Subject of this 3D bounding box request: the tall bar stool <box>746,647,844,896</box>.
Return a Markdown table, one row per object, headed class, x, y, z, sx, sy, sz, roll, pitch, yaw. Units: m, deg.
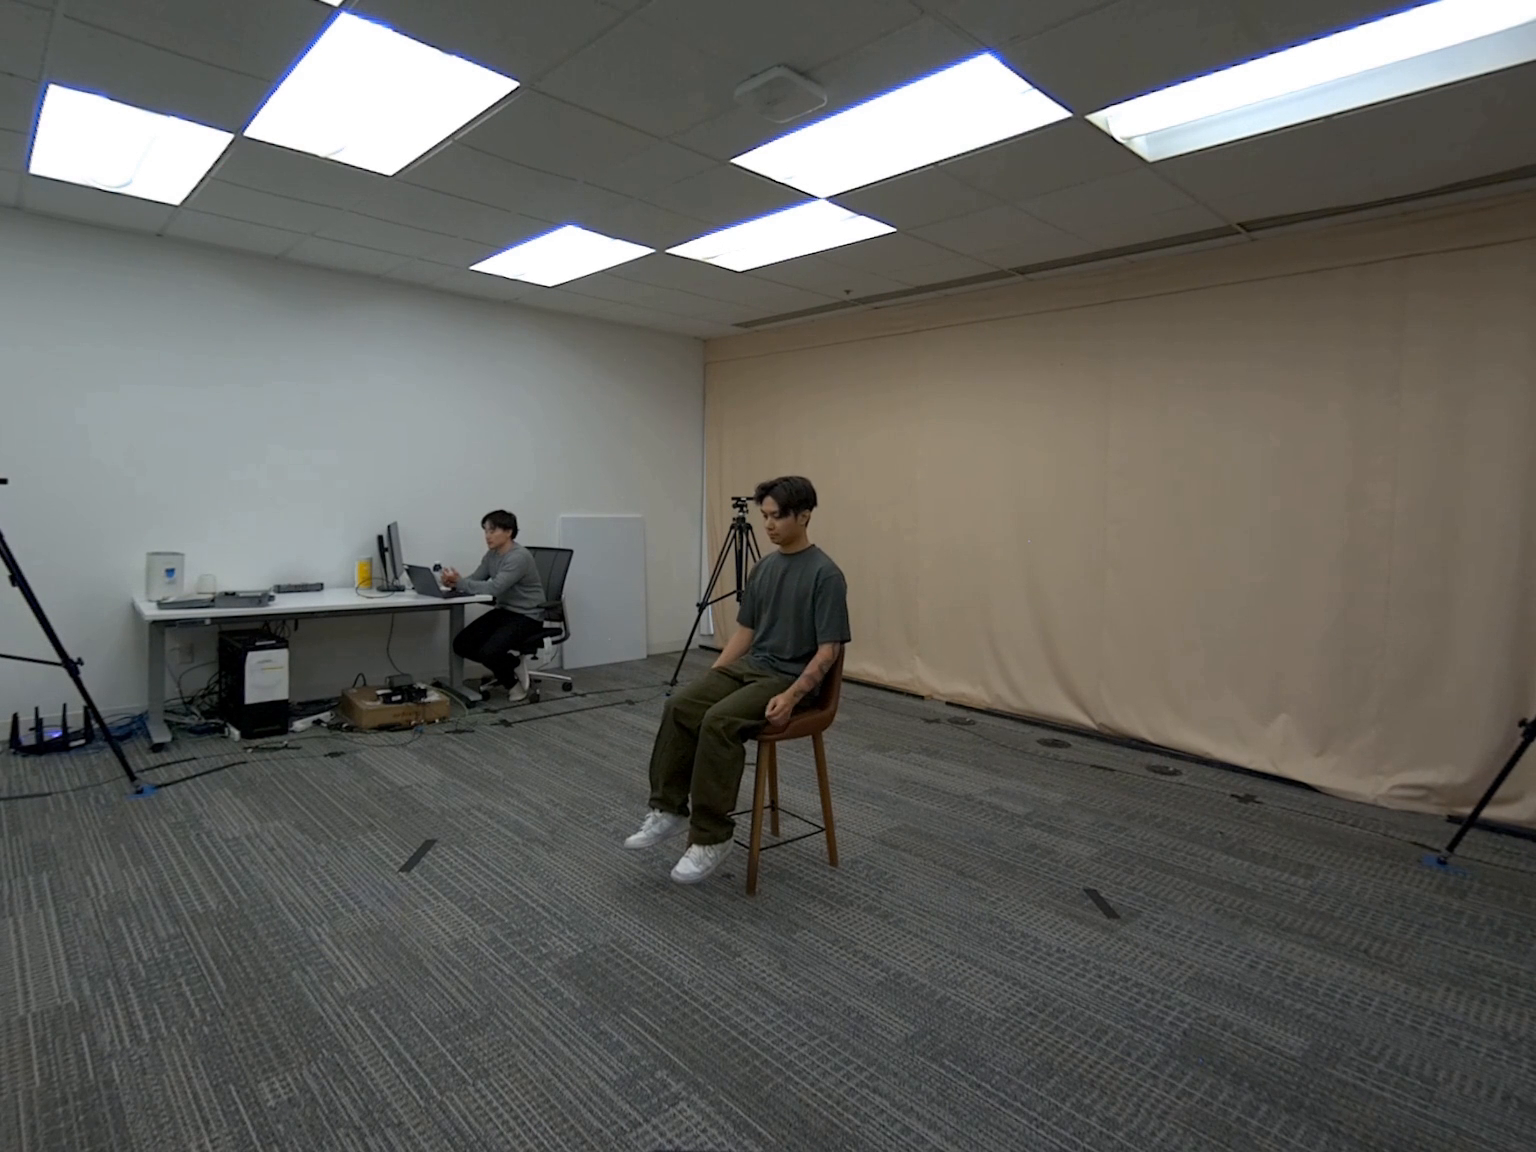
| class | x | y | z | sx | sy | sz | roll | pitch | yaw |
| --- | --- | --- | --- | --- | --- | --- | --- | --- | --- |
| tall bar stool | -0.003 | 0.663 | 3.223 | 0.456 | 0.889 | 0.468 | 2 | 2 | -39 |
